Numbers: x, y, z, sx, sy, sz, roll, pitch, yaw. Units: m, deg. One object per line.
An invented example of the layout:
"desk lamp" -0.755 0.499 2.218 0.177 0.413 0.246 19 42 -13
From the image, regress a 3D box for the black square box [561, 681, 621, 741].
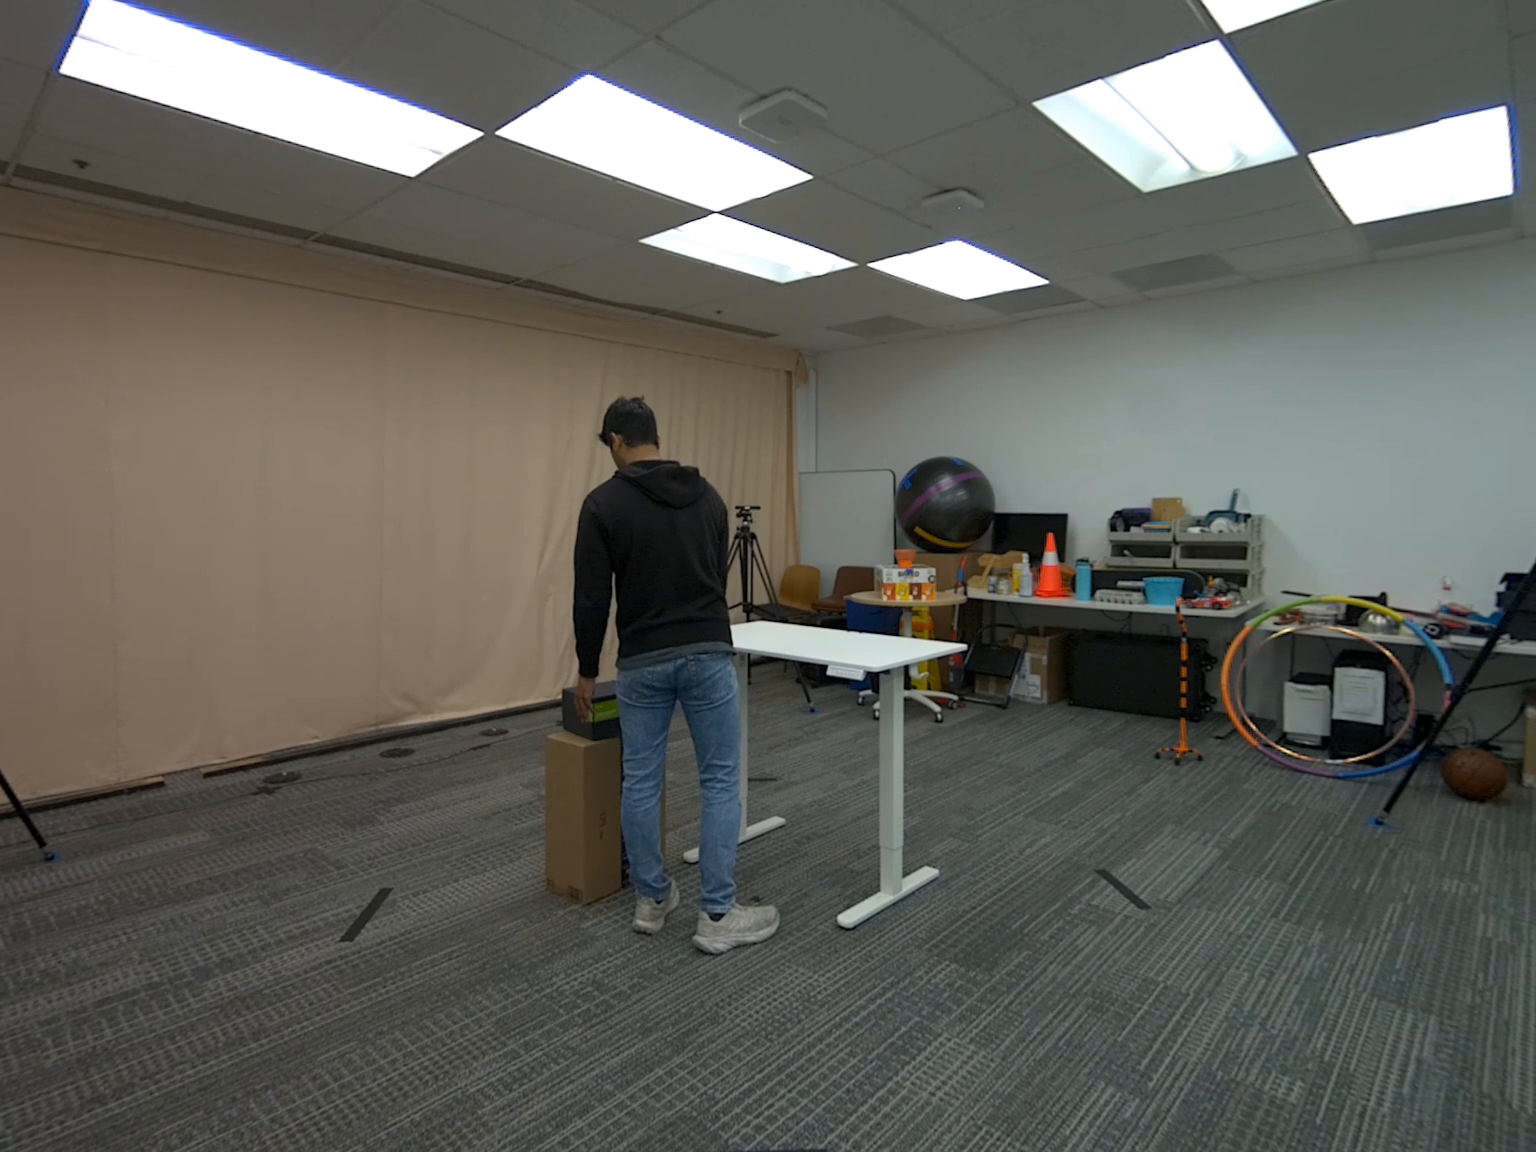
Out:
"black square box" -0.609 0.496 3.125 0.221 0.155 0.224 -5 6 -43
